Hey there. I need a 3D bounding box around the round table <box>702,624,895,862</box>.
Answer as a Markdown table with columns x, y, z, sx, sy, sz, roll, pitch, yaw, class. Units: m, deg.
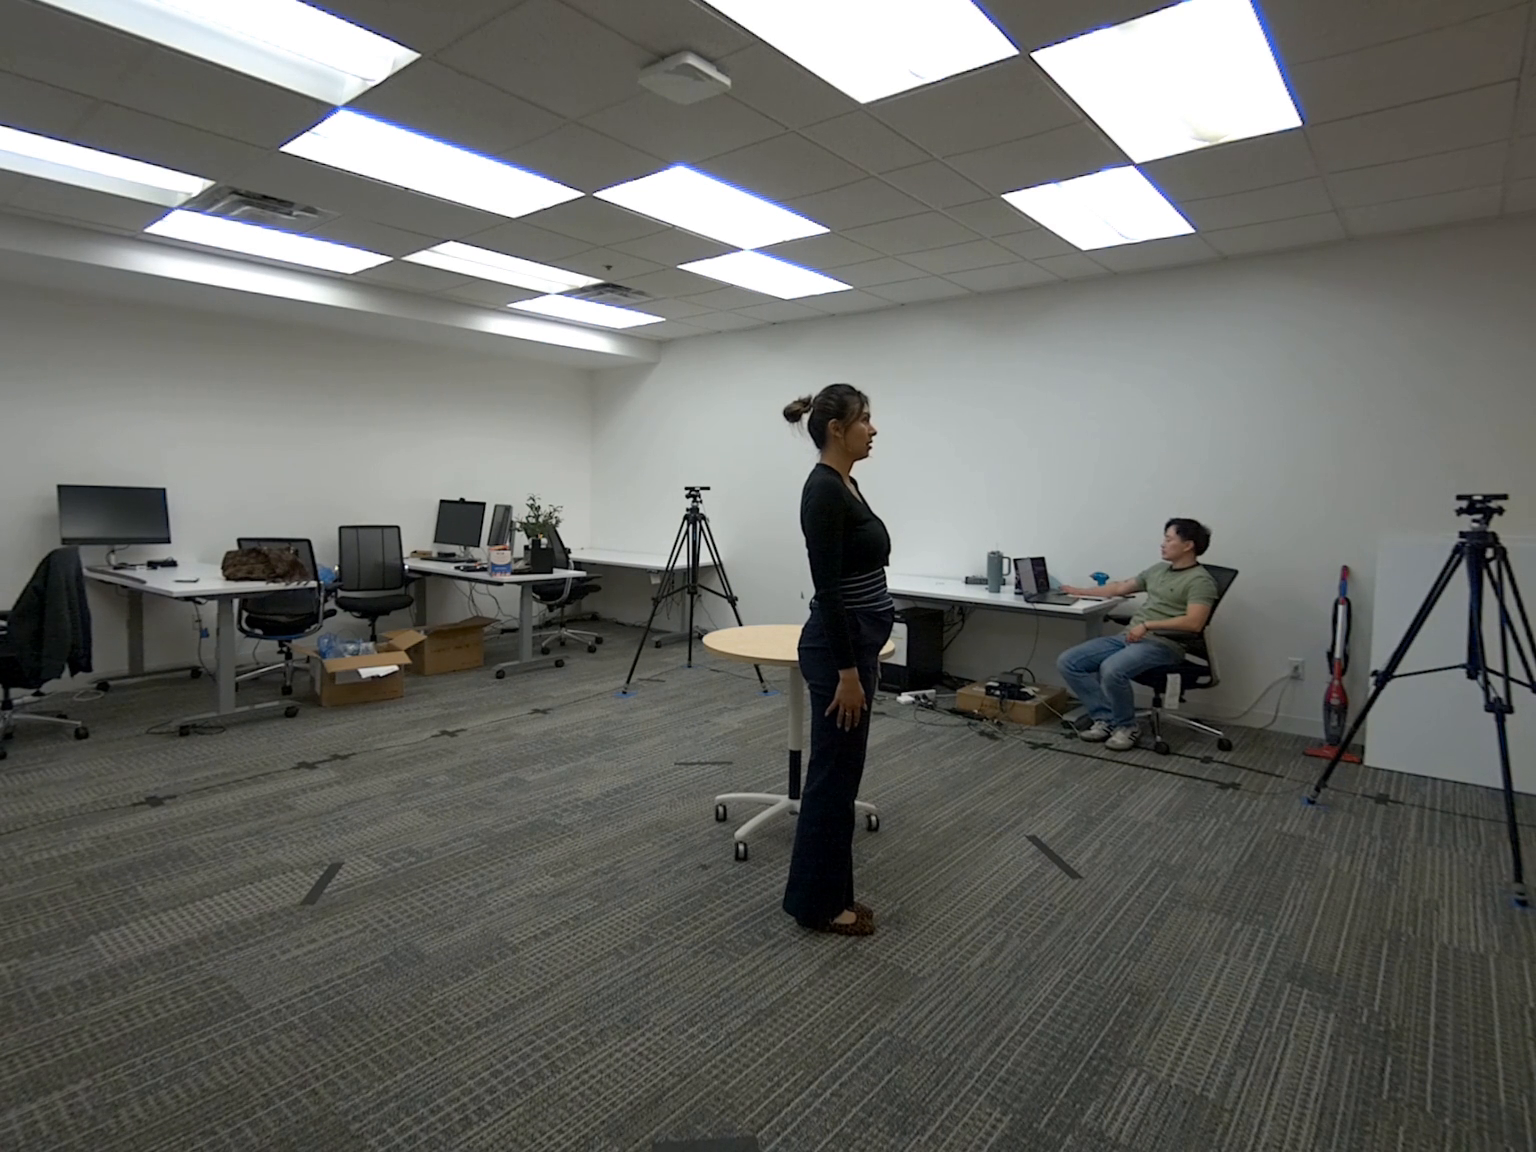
| x | y | z | sx | sy | sz | roll | pitch | yaw | class |
| --- | --- | --- | --- | --- | --- | --- | --- | --- | --- |
| 0.104 | 0.649 | 3.430 | 0.763 | 0.791 | 0.768 | 1 | 4 | -2 | round table |
